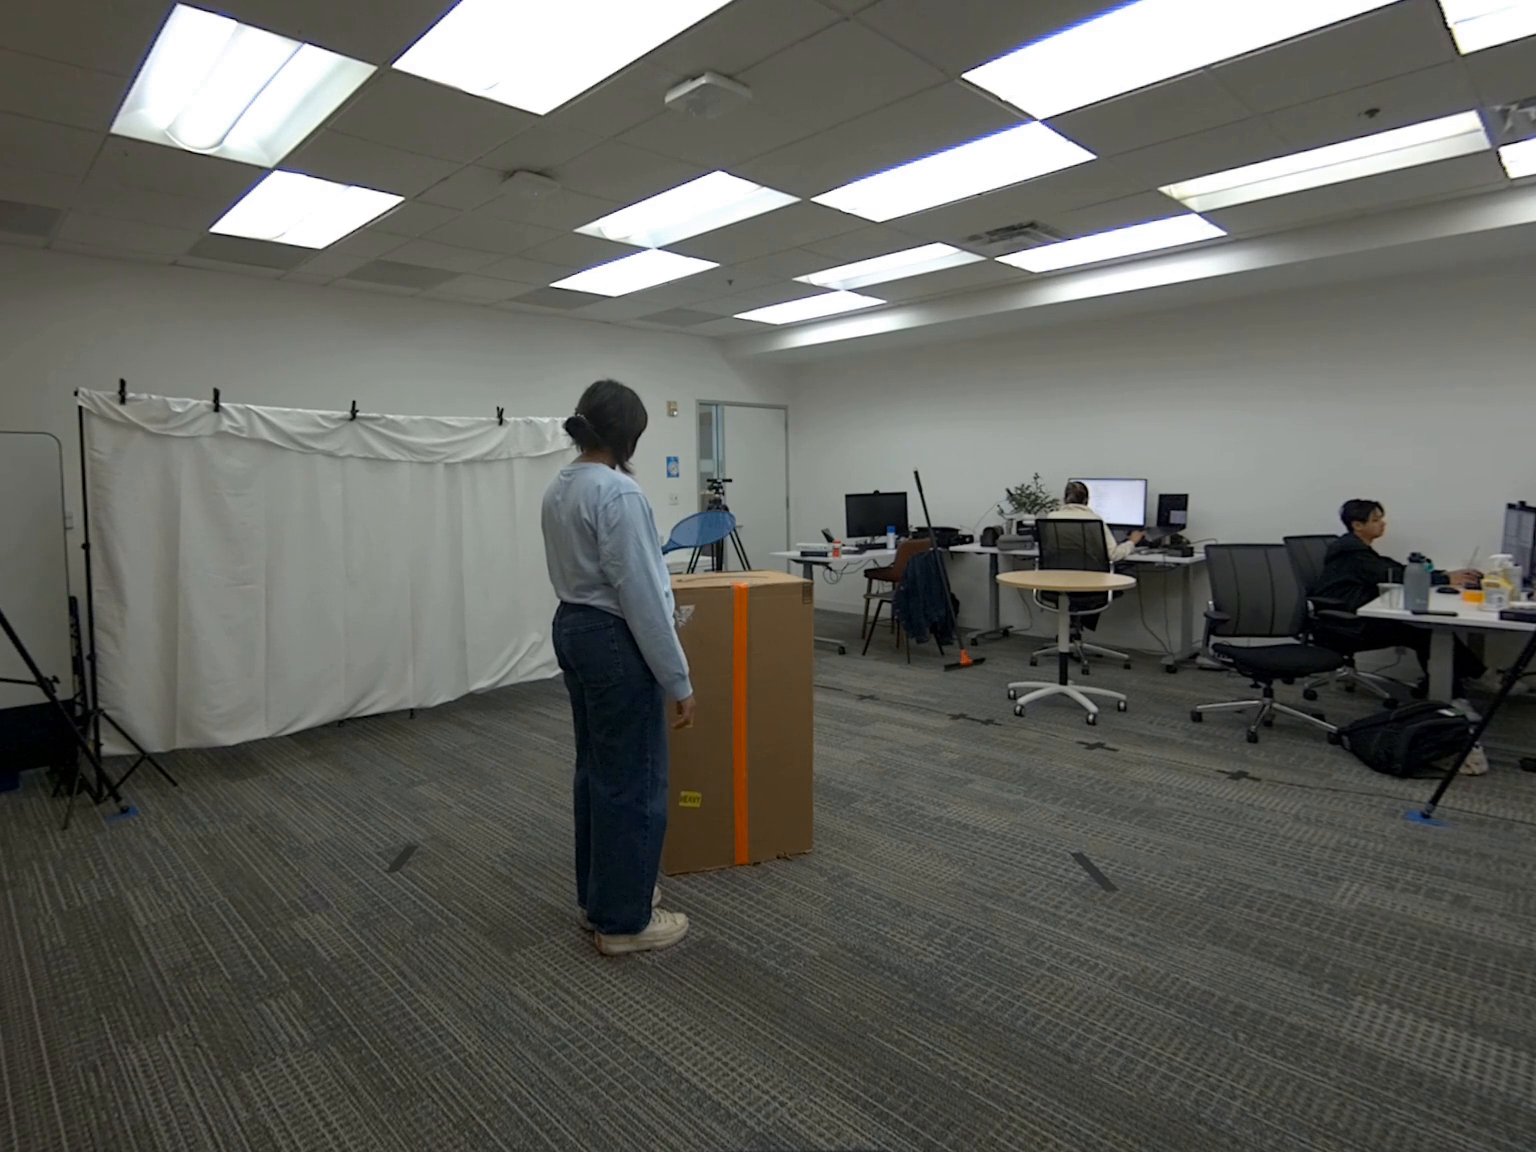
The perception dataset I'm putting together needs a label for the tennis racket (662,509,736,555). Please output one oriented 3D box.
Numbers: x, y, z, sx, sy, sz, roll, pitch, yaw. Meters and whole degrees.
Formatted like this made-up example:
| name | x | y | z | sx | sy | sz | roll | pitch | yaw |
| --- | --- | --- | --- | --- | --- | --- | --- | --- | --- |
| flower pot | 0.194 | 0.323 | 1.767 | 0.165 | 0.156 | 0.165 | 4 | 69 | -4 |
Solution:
| name | x | y | z | sx | sy | sz | roll | pitch | yaw |
| --- | --- | --- | --- | --- | --- | --- | --- | --- | --- |
| tennis racket | -0.305 | -0.130 | 3.111 | 0.221 | 0.031 | 0.429 | 24 | 45 | 36 |
